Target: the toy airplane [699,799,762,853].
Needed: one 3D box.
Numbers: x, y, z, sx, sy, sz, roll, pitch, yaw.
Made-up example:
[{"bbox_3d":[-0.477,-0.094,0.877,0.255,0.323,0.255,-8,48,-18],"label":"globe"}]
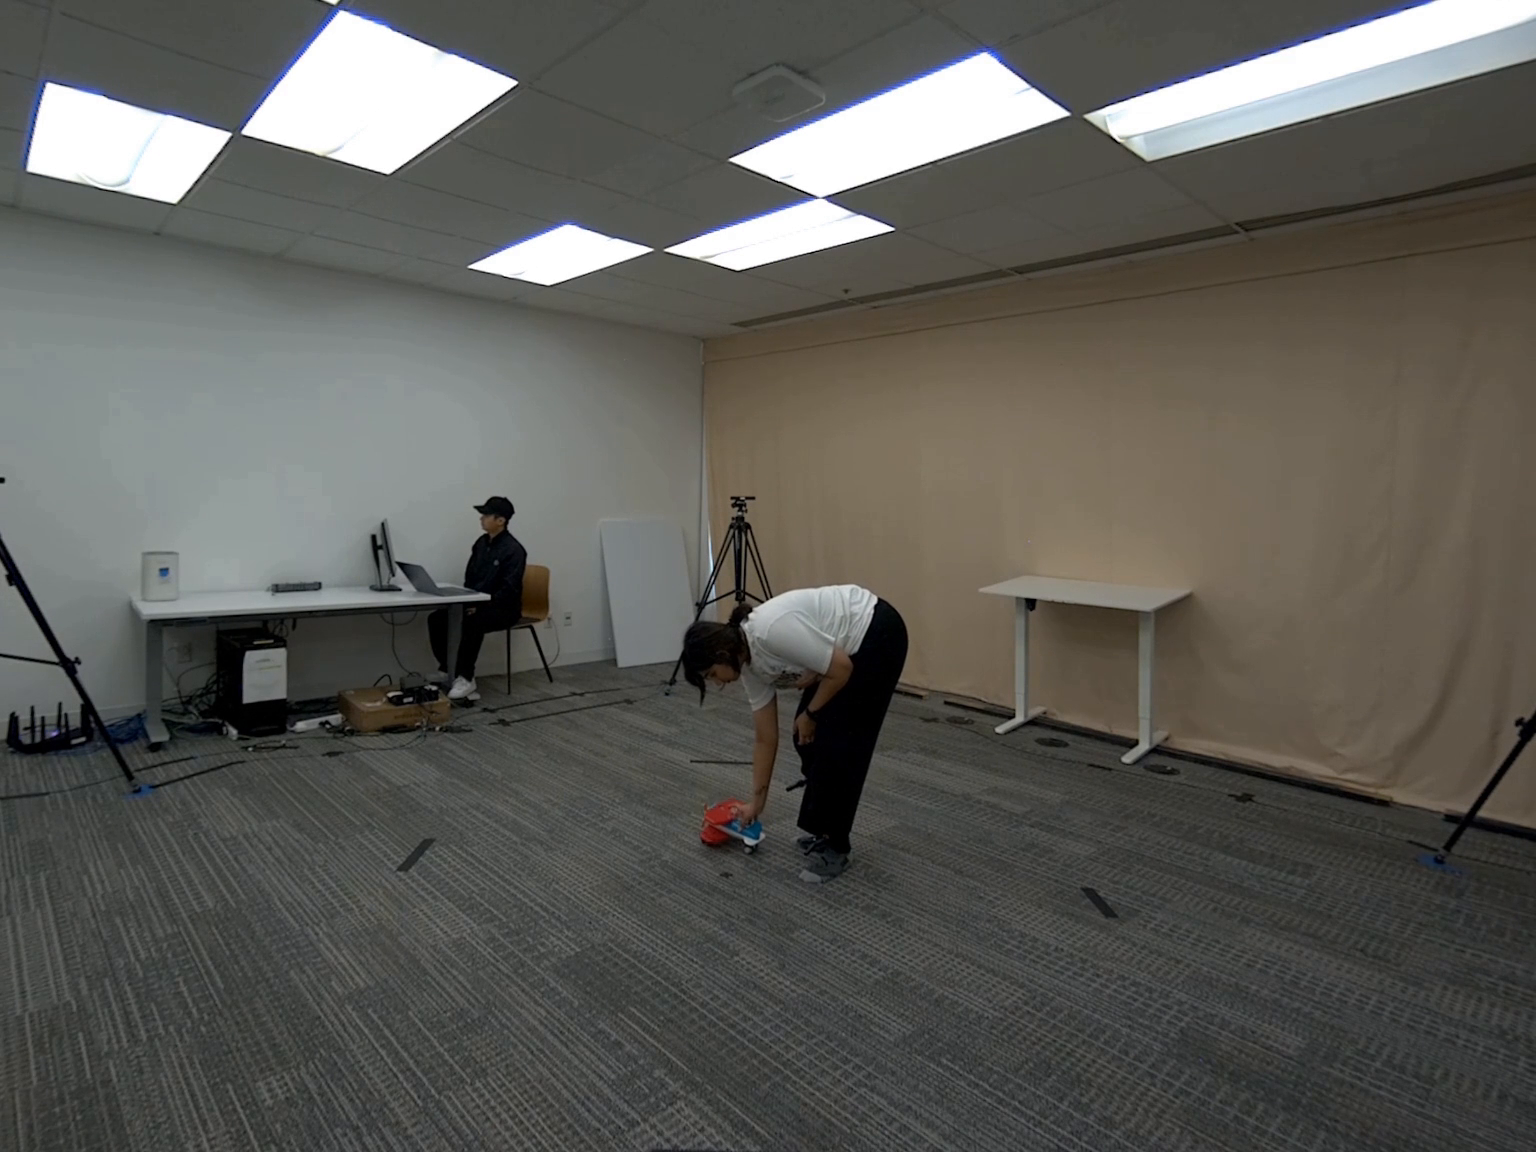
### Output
[{"bbox_3d":[-0.141,1.002,3.381,0.260,0.156,0.251,1,4,2],"label":"toy airplane"}]
